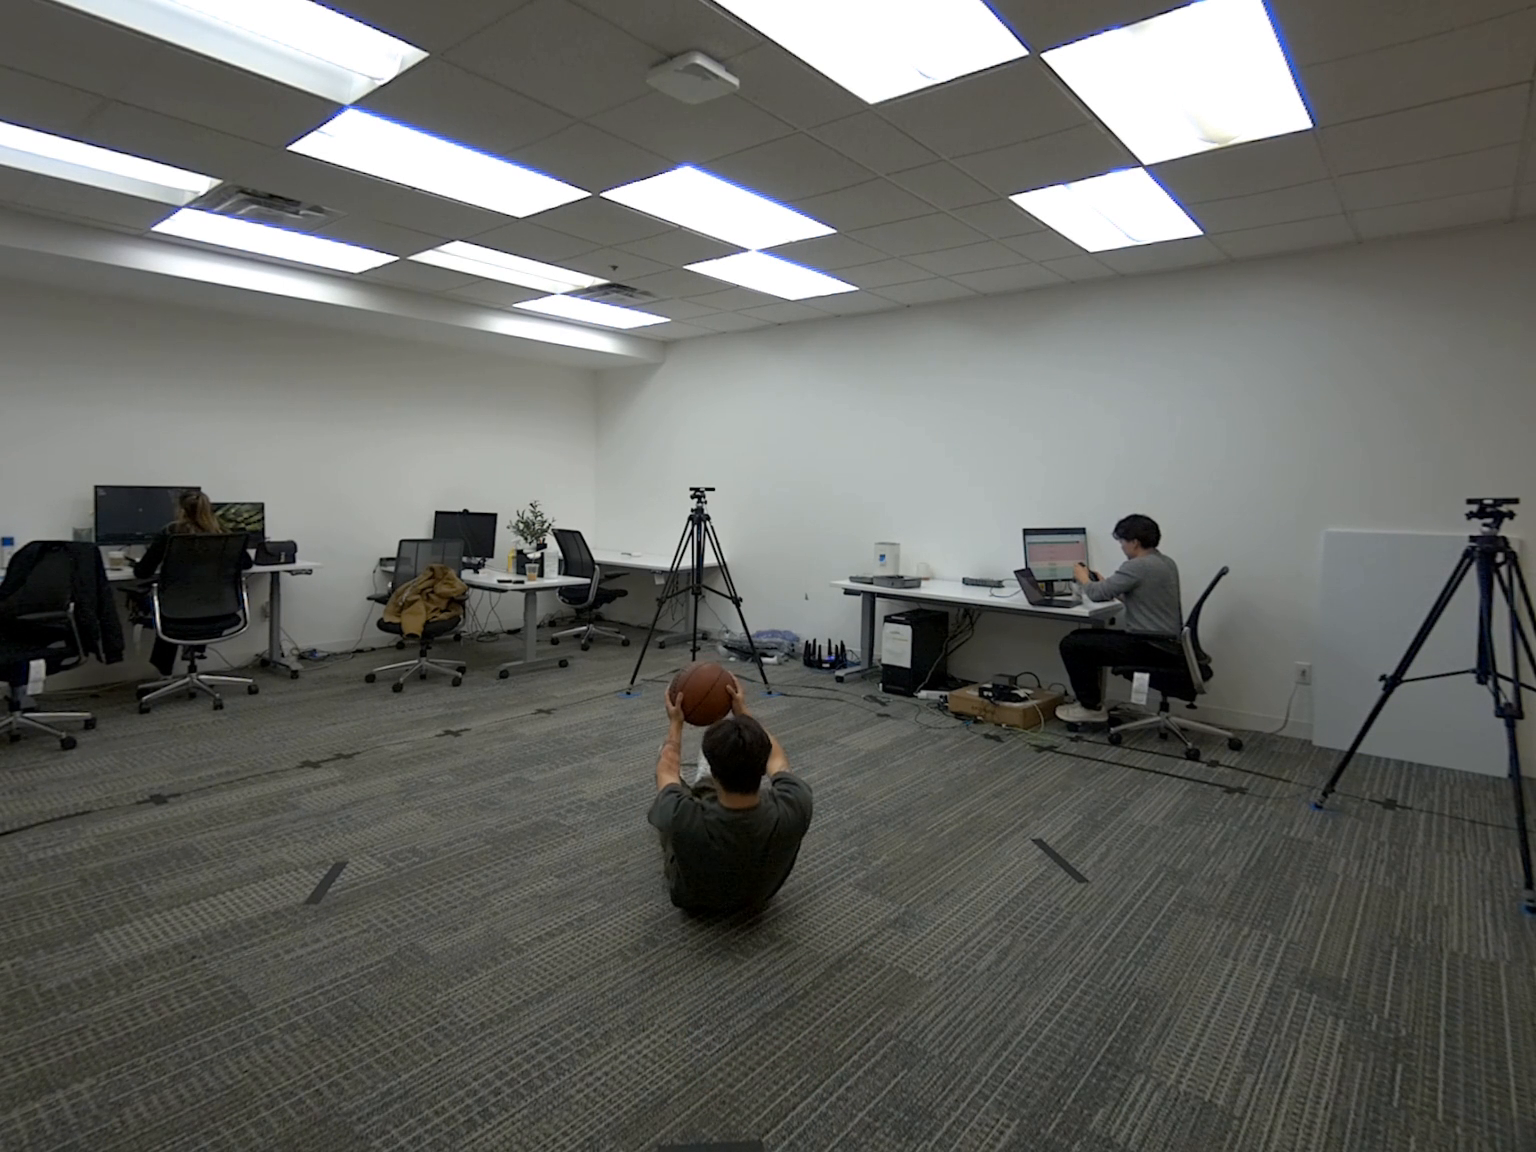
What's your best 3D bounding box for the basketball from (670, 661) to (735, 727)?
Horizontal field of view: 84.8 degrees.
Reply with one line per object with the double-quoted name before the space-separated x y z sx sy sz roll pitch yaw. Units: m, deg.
"basketball" -0.244 0.429 3.115 0.235 0.235 0.237 1 4 -2
